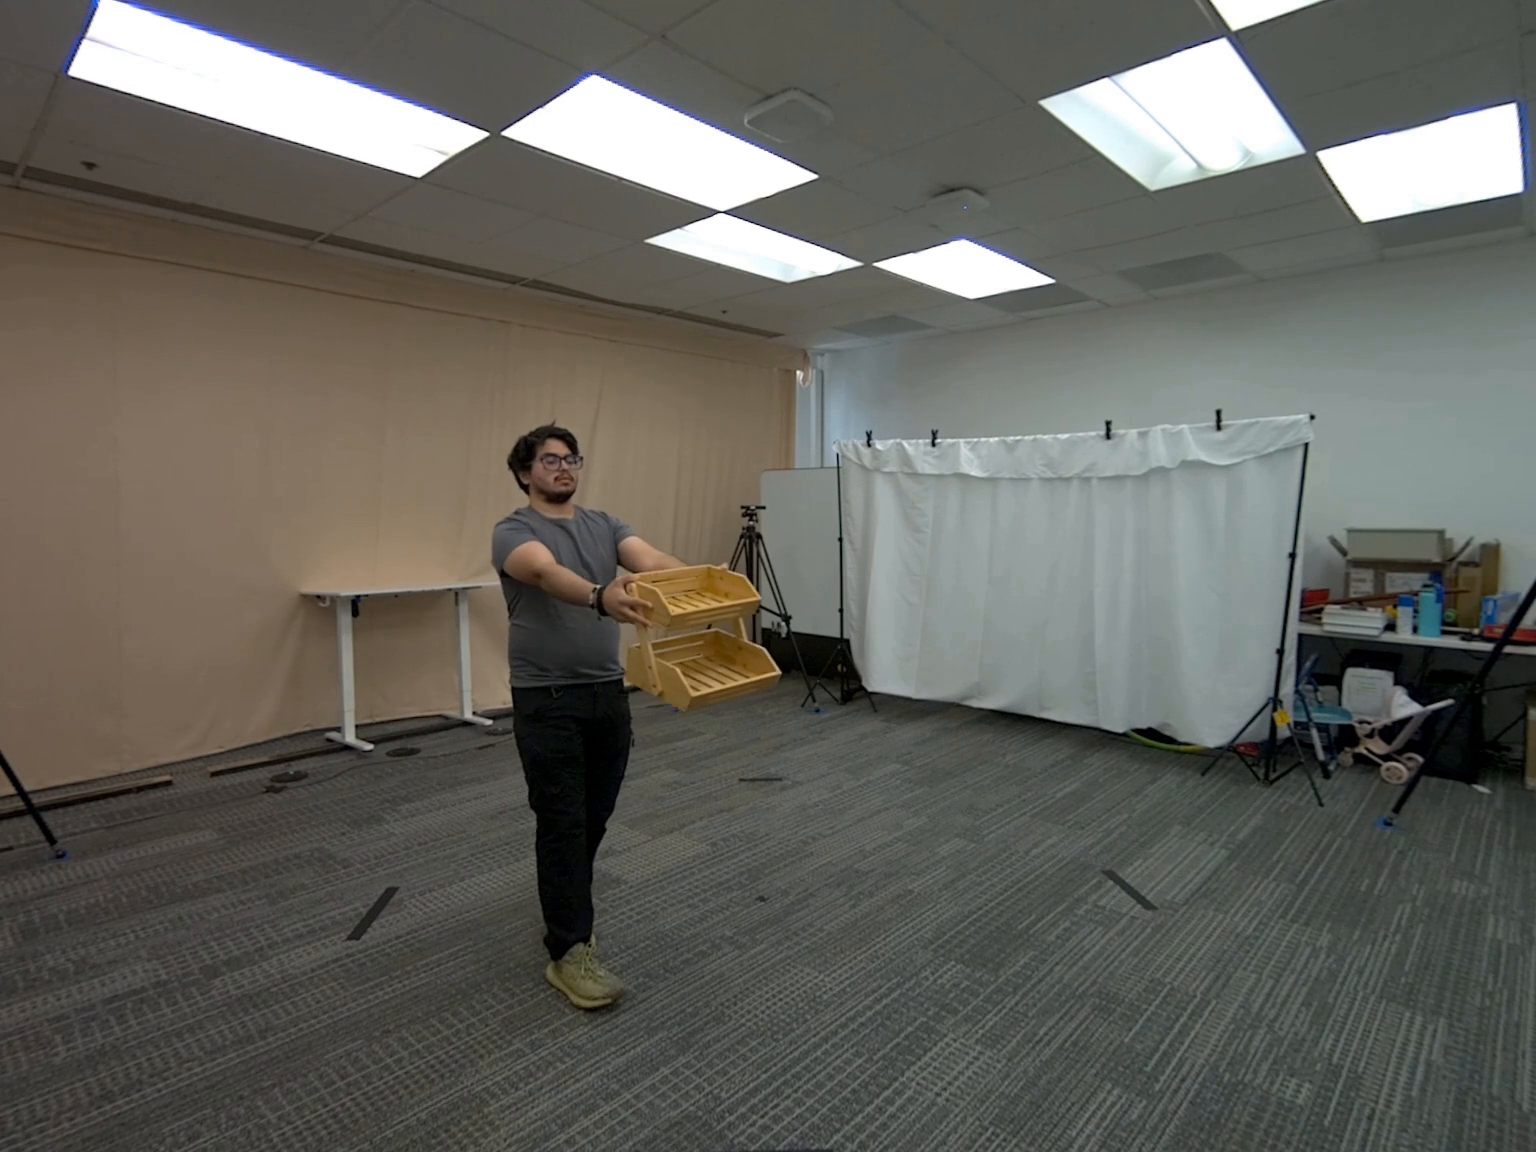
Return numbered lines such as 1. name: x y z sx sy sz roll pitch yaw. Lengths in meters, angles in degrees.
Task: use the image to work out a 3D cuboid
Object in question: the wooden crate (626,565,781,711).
1. wooden crate: -0.166 0.139 2.109 0.315 0.272 0.313 -7 16 -44
